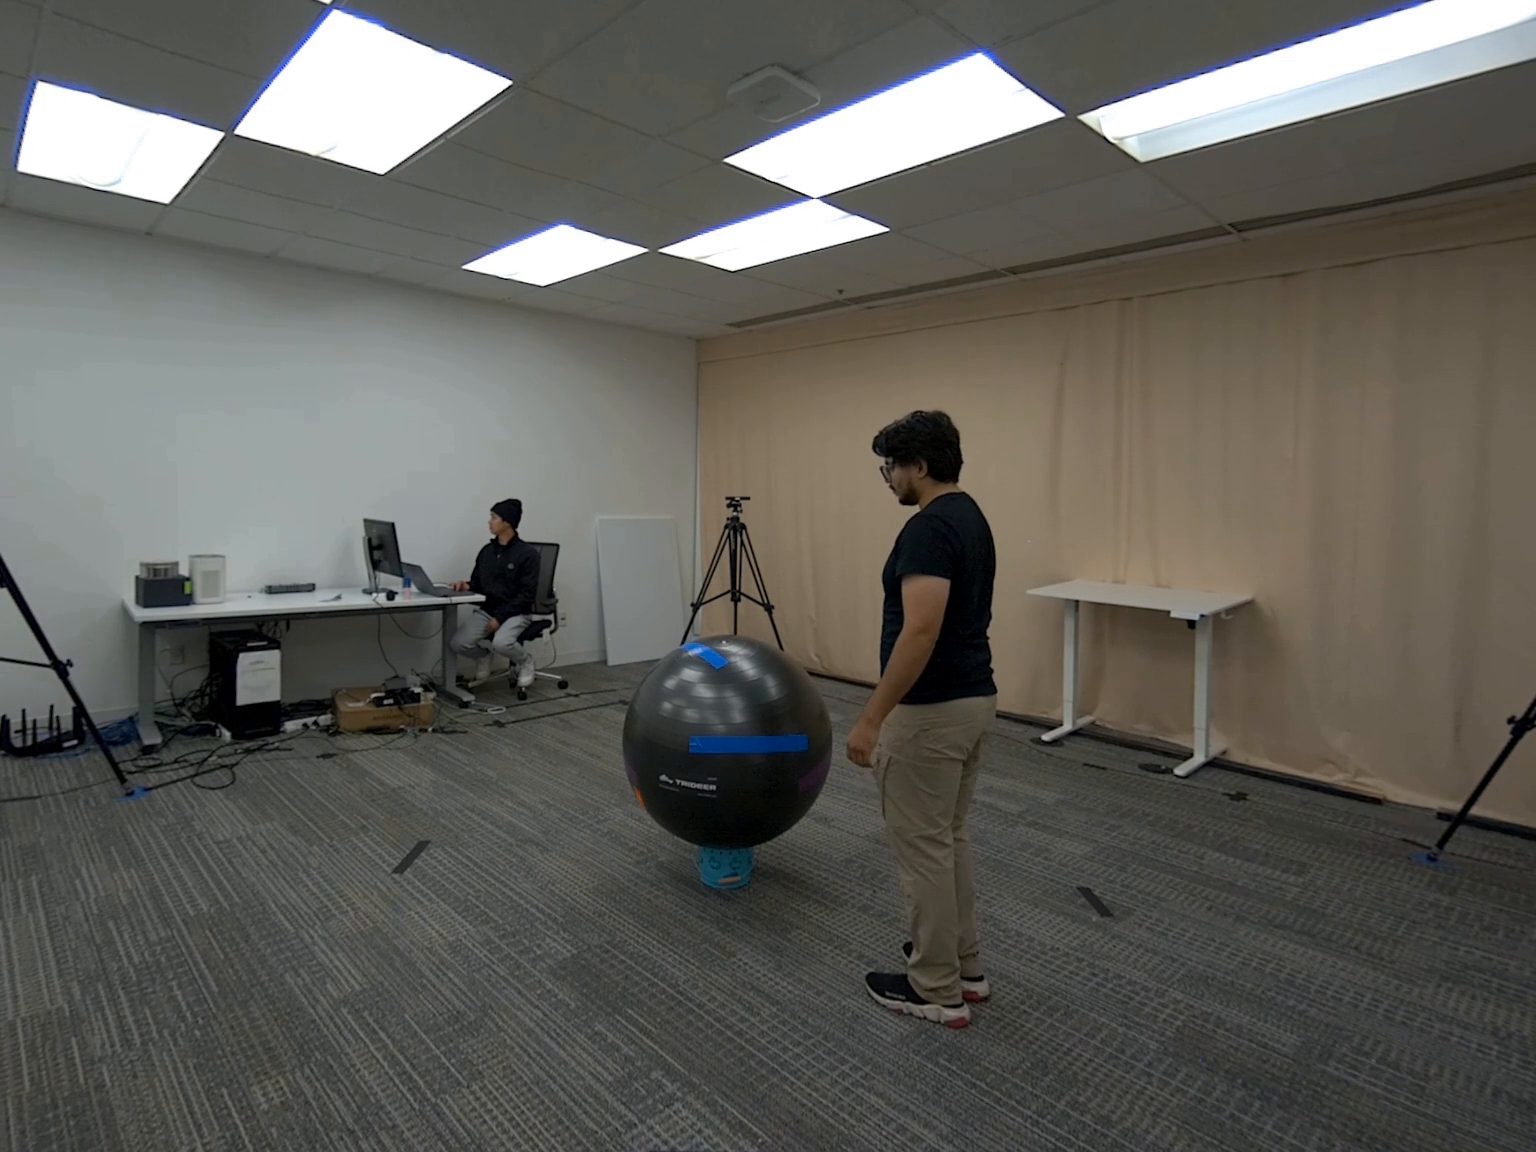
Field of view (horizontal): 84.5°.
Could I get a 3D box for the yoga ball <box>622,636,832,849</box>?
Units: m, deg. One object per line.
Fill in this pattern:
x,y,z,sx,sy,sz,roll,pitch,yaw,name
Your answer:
-0.151,0.599,3.053,0.757,0.756,0.760,1,4,-1,yoga ball
